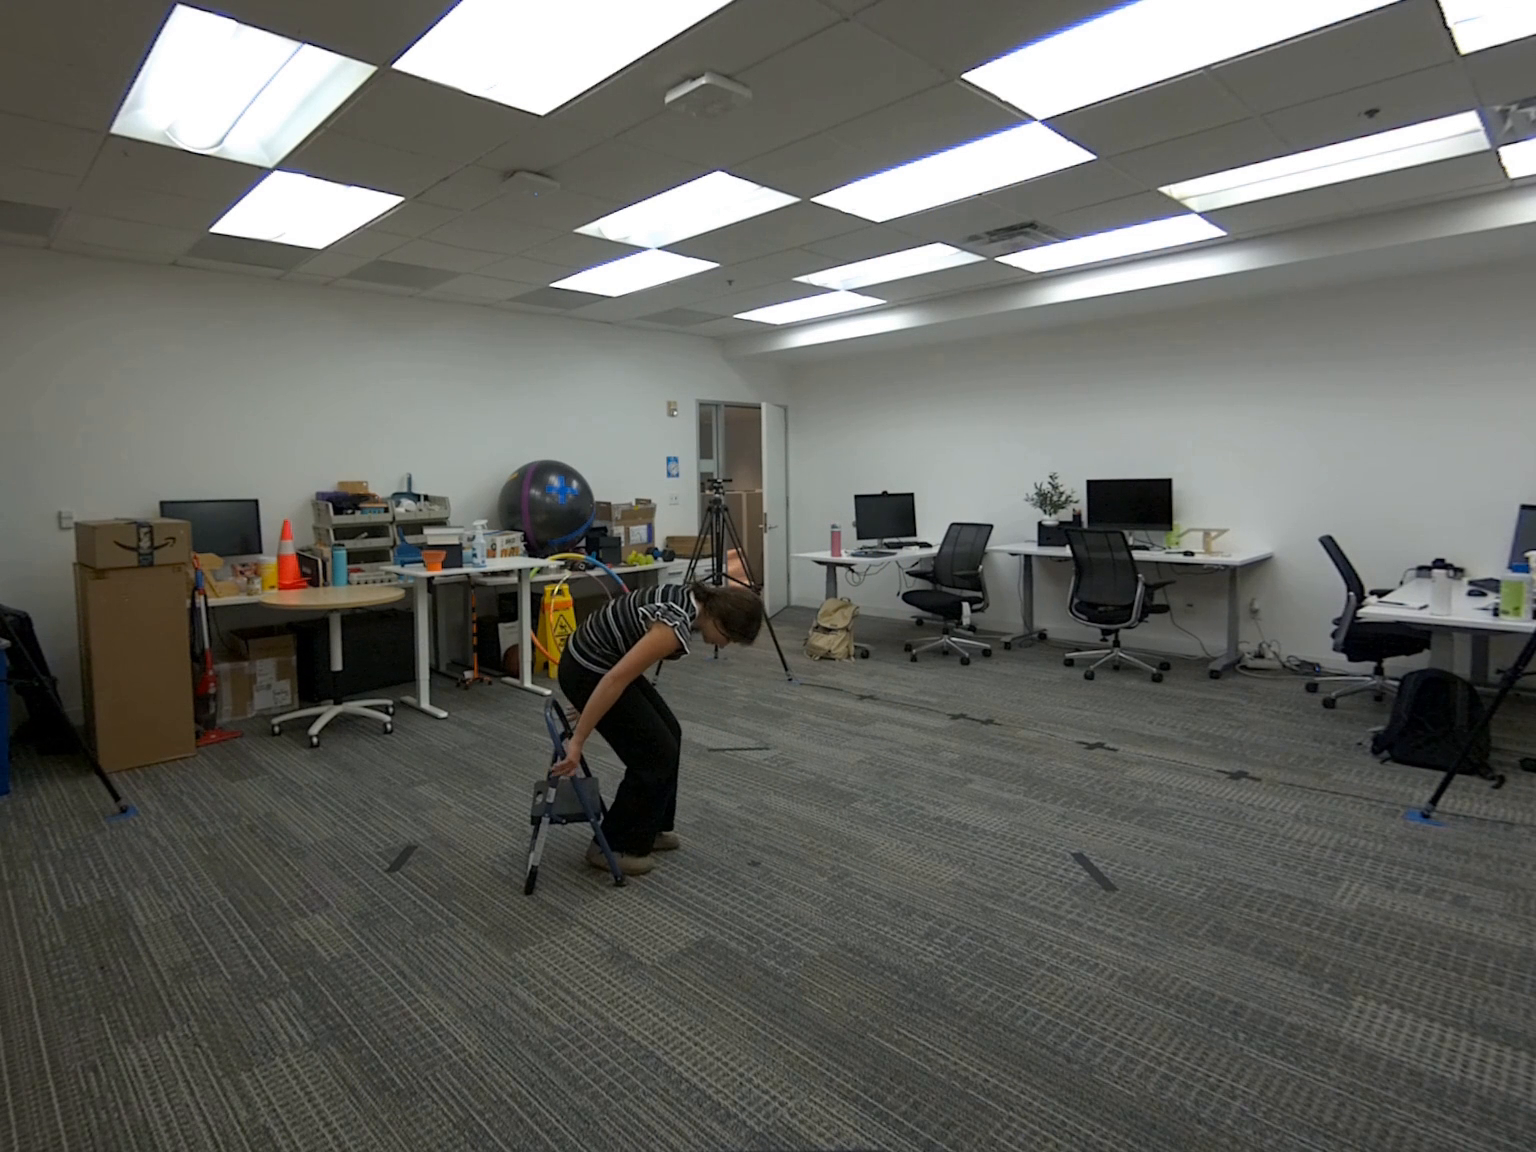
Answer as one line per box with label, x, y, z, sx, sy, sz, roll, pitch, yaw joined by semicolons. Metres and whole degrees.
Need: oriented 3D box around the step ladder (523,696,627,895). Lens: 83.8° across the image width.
step ladder;-0.709;0.753;3.107;0.345;0.604;0.437;-2;4;-12
